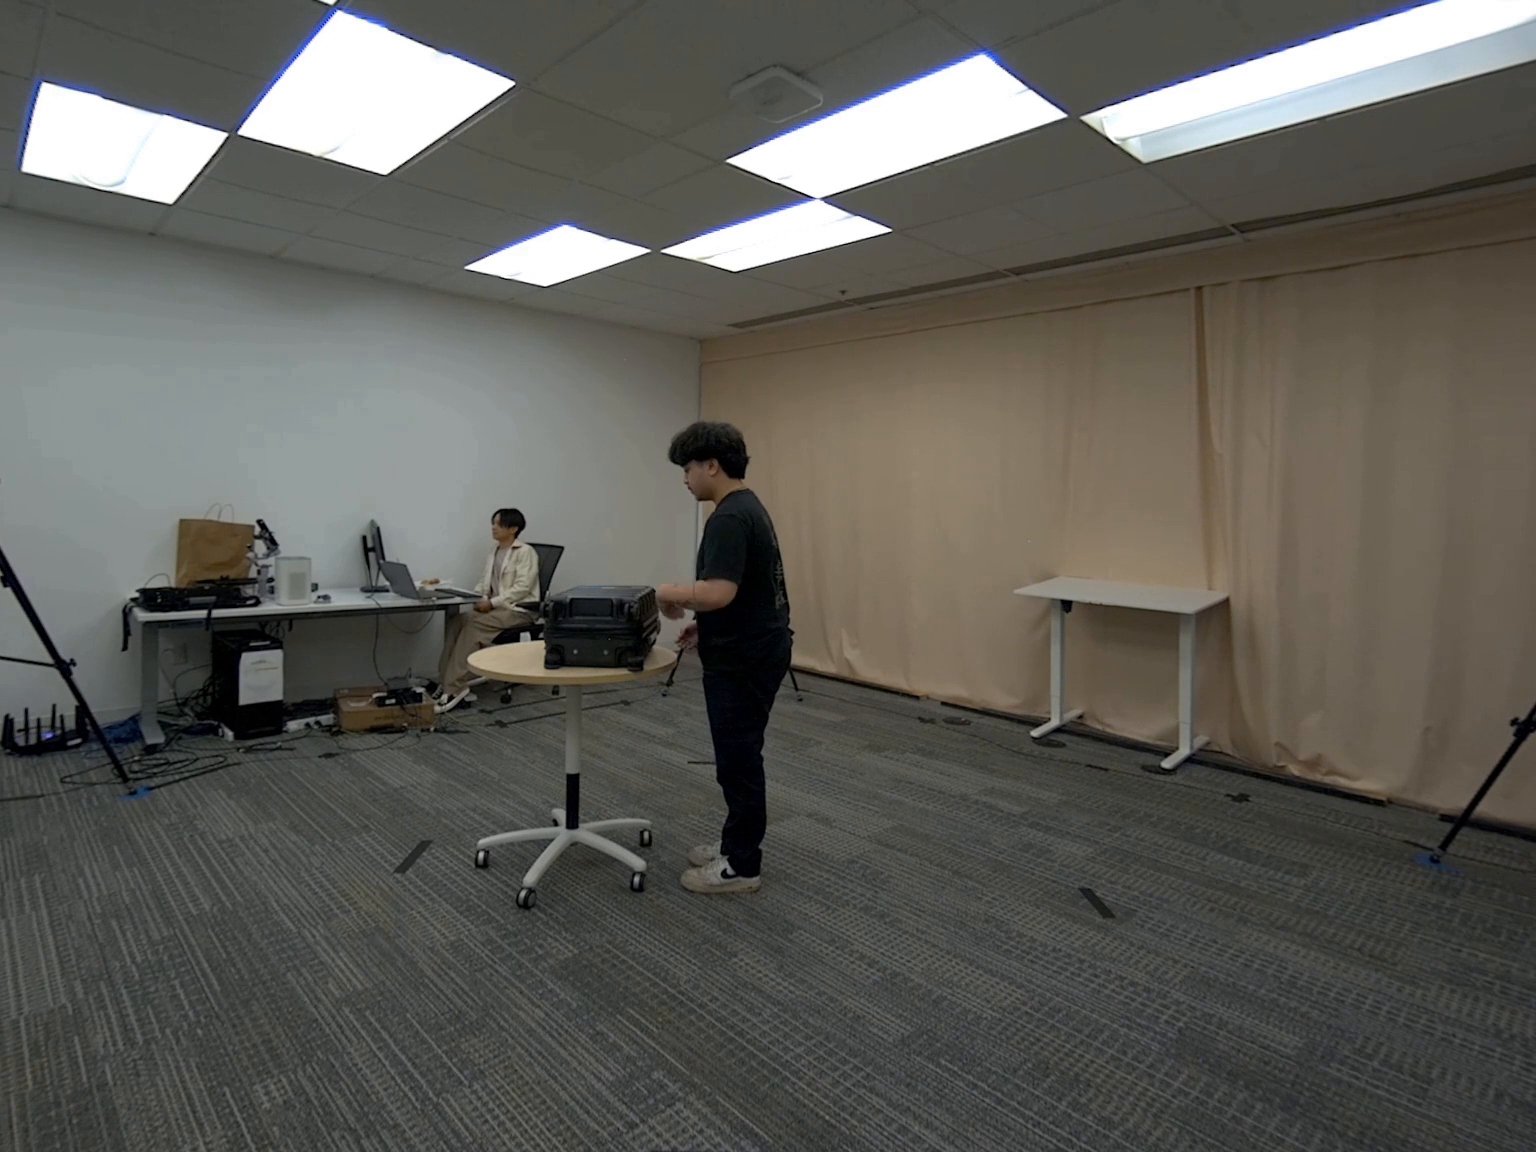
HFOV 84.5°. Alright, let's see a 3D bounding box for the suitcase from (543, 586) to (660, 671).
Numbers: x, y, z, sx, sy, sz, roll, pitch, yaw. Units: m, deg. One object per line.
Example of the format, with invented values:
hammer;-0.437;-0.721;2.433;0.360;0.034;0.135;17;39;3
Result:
suitcase;-0.619;0.182;3.131;0.376;0.248;0.550;-1;4;1
